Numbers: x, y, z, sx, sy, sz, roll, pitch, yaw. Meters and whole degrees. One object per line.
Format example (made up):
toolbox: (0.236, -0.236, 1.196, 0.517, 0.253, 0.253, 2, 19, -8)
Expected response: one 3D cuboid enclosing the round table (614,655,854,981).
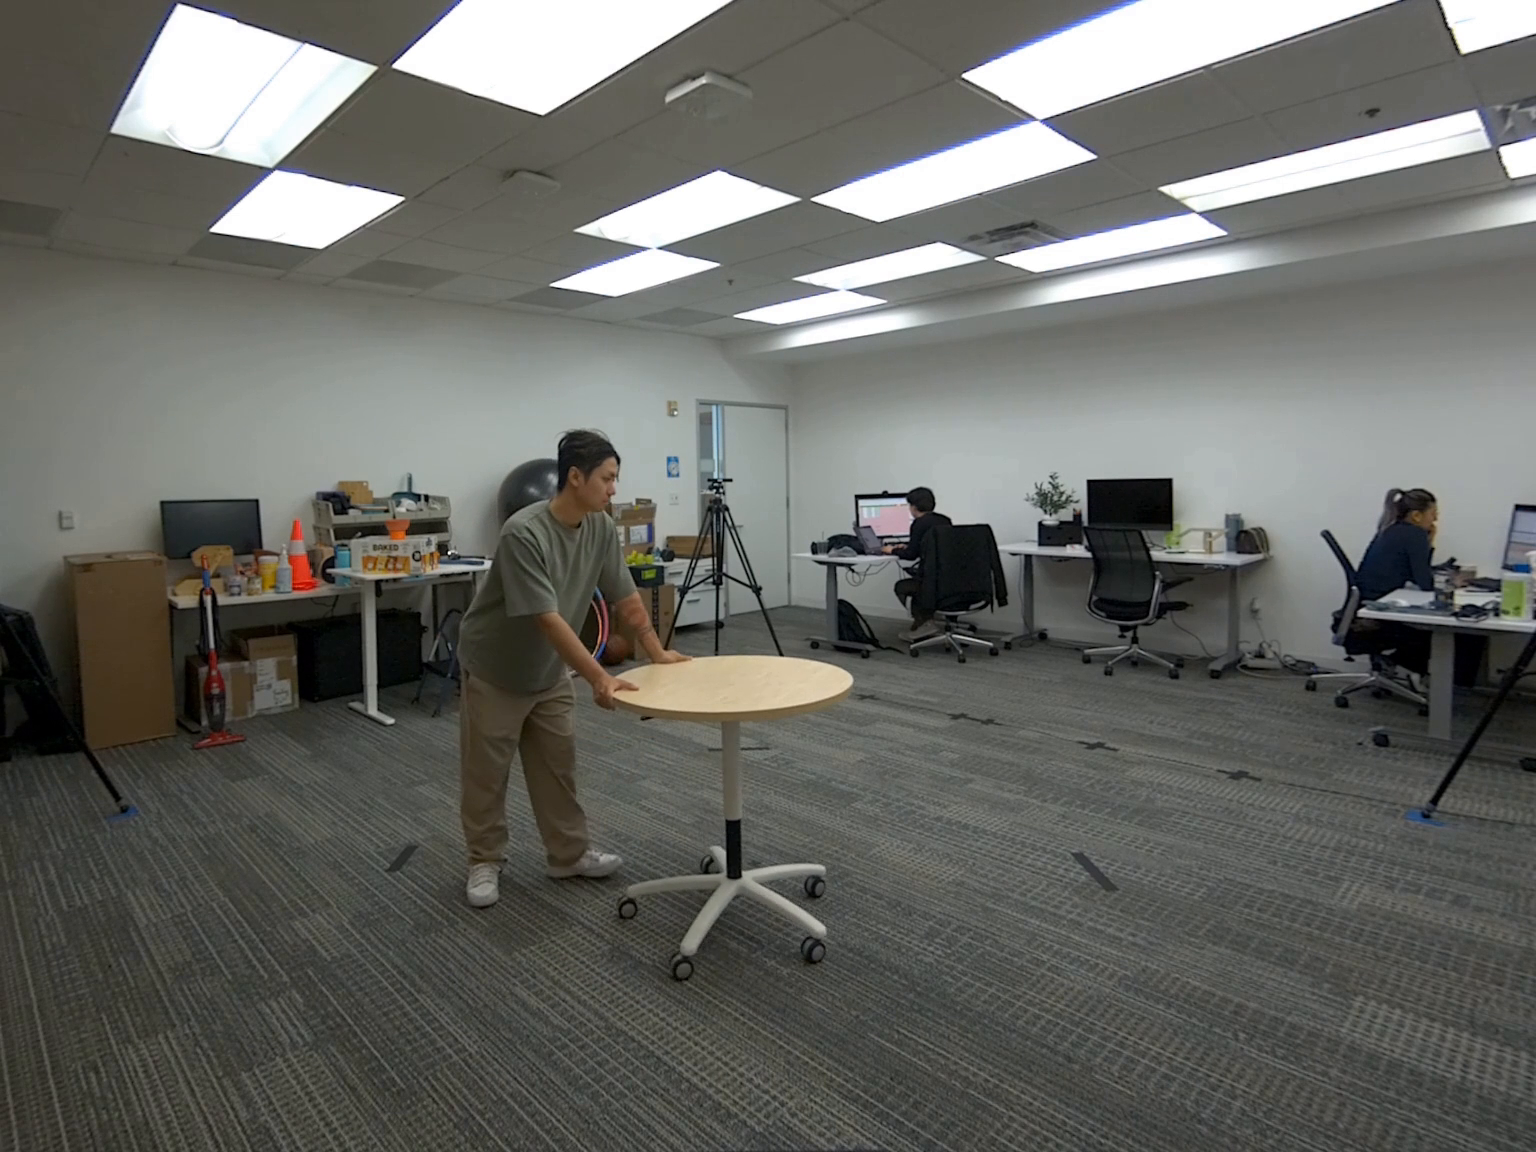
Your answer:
round table: (-0.105, 0.707, 2.675, 0.784, 0.784, 0.789, -2, 4, -2)
